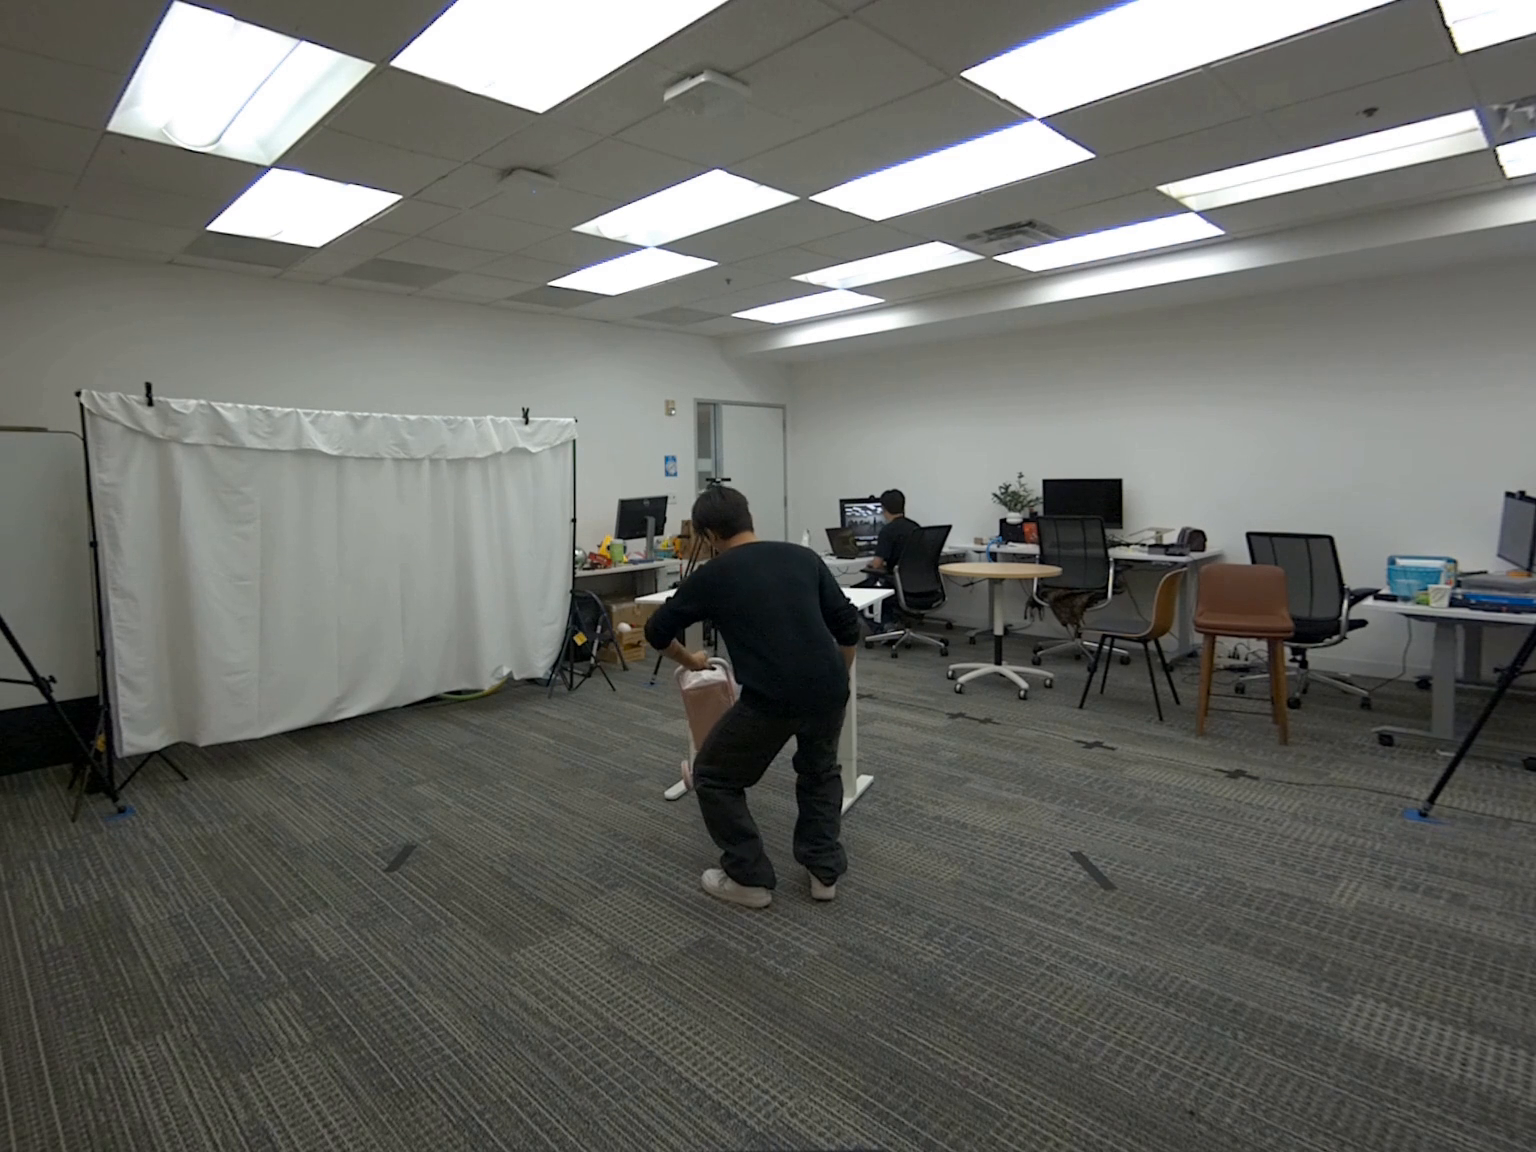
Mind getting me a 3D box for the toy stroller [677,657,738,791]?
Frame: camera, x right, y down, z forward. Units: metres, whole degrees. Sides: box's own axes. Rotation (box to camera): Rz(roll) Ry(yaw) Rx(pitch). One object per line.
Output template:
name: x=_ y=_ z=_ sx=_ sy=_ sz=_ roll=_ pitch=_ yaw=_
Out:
toy stroller: x=-0.207 y=0.565 z=3.361 sx=0.283 sy=0.535 sz=0.339 roll=-11 pitch=0 yaw=7
